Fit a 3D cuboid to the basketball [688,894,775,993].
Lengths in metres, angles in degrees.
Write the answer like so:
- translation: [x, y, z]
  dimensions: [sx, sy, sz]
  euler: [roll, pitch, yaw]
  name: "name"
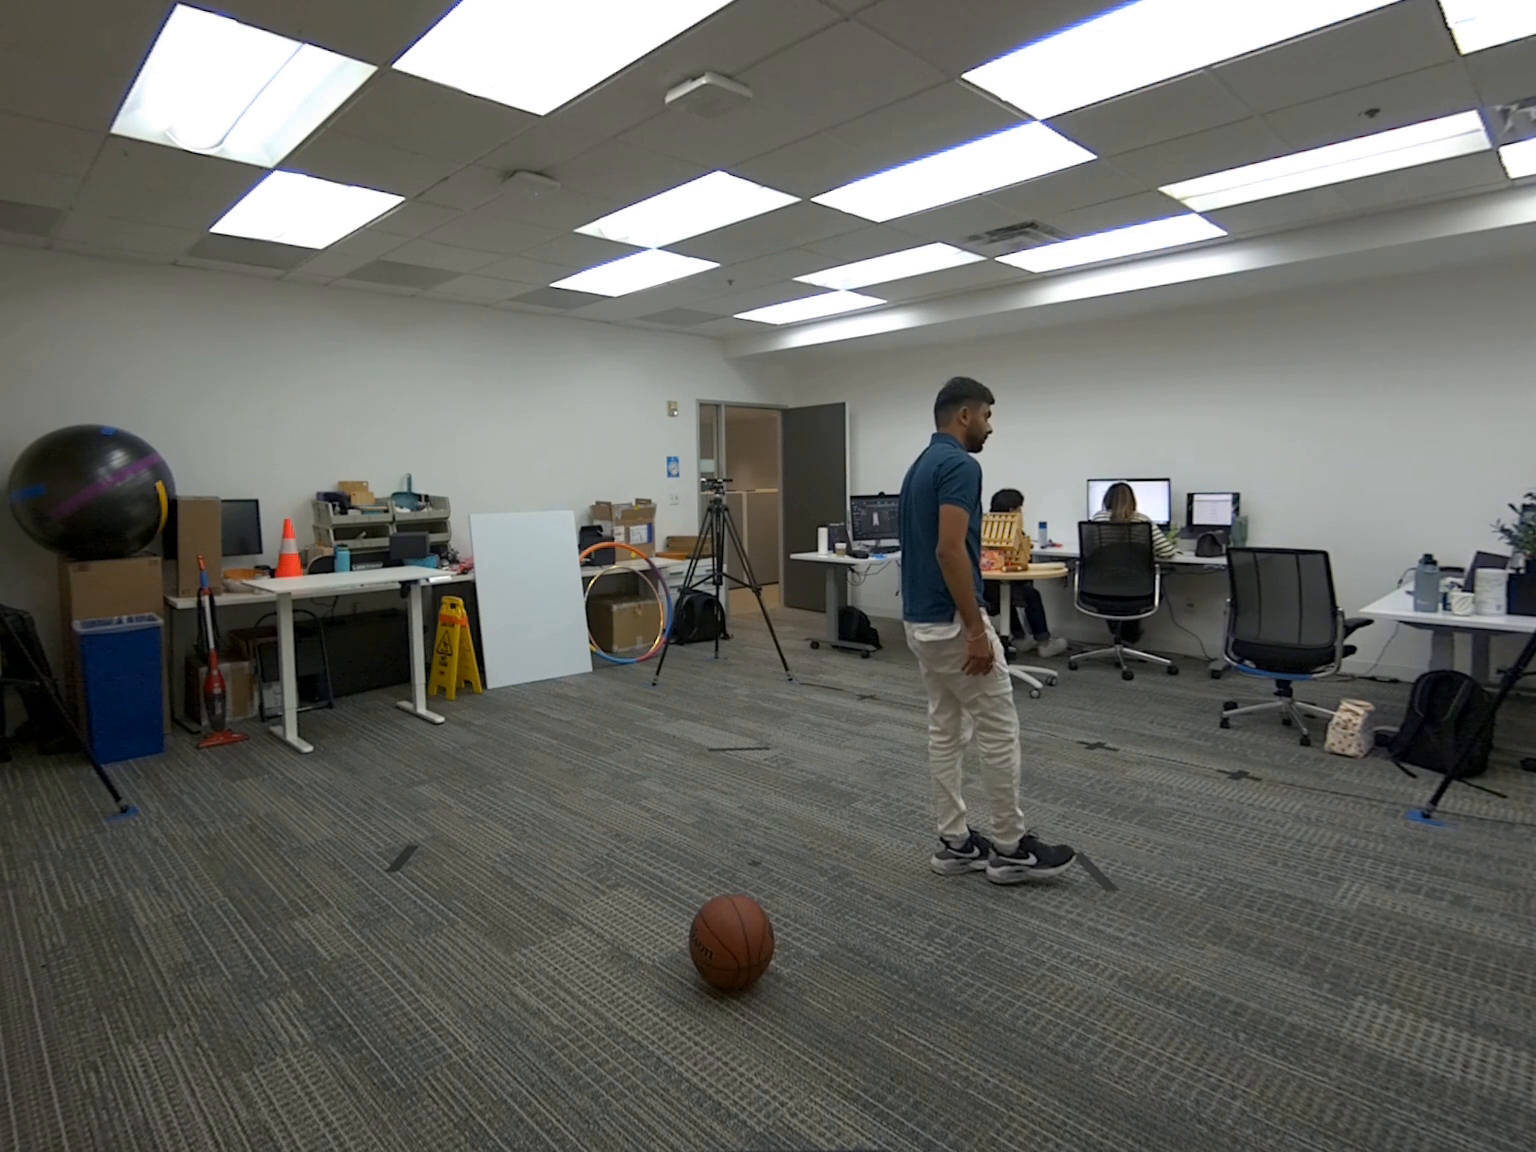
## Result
- translation: [-0.098, 1.011, 2.376]
  dimensions: [0.236, 0.235, 0.237]
  euler: [-1, 5, -2]
  name: "basketball"
